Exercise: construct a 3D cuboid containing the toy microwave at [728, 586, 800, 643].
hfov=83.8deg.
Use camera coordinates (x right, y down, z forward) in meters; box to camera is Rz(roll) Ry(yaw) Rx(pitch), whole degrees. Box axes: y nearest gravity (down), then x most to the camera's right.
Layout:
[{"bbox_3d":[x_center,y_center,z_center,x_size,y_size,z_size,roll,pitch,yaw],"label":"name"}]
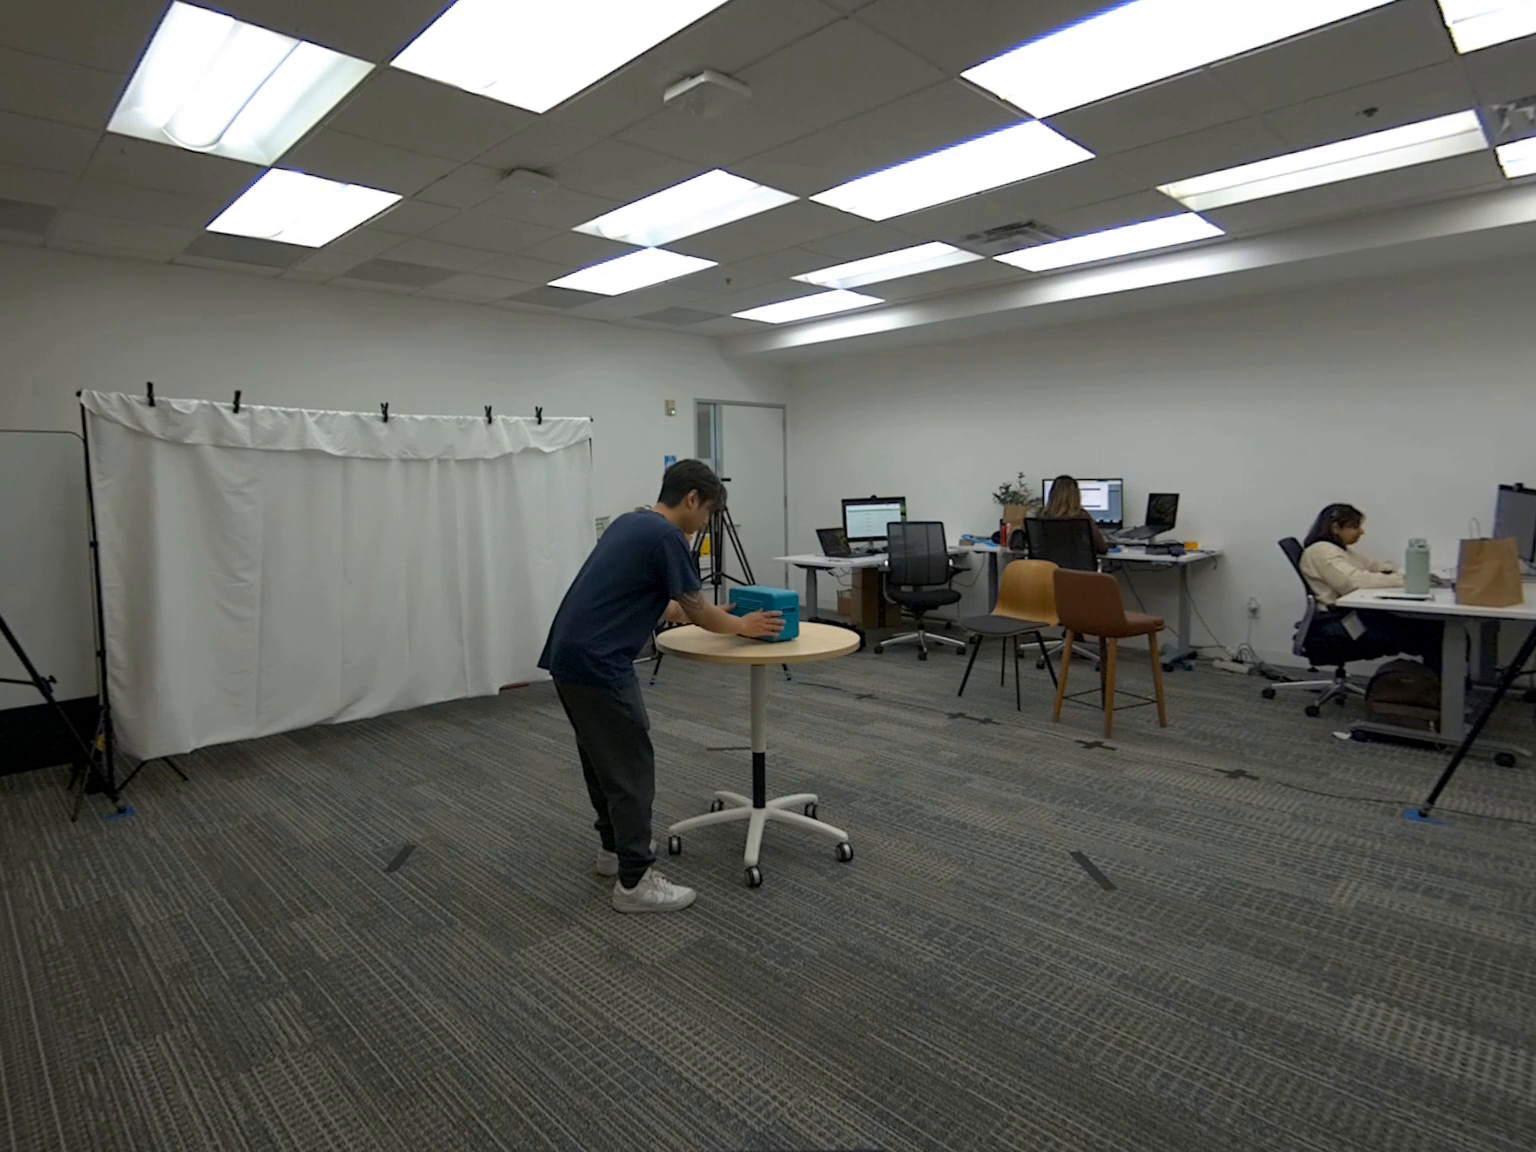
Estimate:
[{"bbox_3d":[-0.013,0.138,3.220,0.148,0.183,0.295,-3,6,-36],"label":"toy microwave"}]
